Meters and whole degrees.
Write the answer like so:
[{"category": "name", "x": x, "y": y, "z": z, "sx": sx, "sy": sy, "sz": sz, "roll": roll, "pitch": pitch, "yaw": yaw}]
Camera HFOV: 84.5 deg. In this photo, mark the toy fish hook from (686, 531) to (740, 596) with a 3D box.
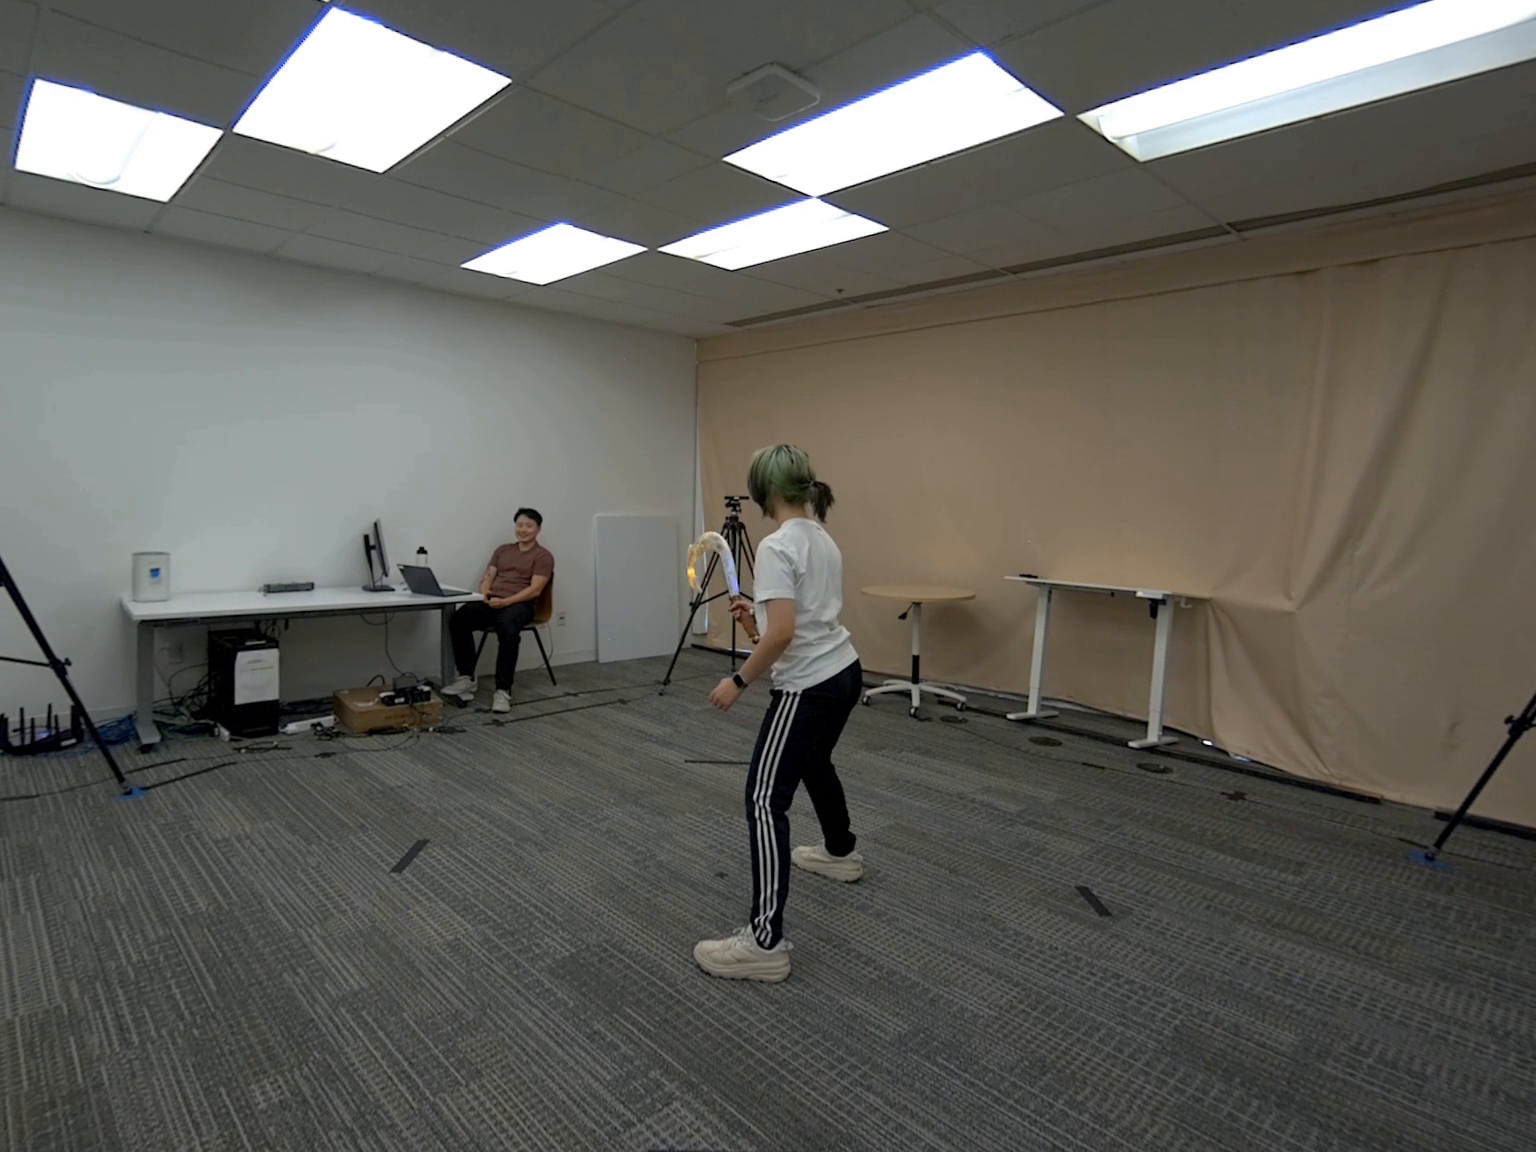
[{"category": "toy fish hook", "x": -0.184, "y": 0.070, "z": 3.177, "sx": 0.047, "sy": 0.520, "sz": 0.225, "roll": 10, "pitch": -45, "yaw": -48}]
